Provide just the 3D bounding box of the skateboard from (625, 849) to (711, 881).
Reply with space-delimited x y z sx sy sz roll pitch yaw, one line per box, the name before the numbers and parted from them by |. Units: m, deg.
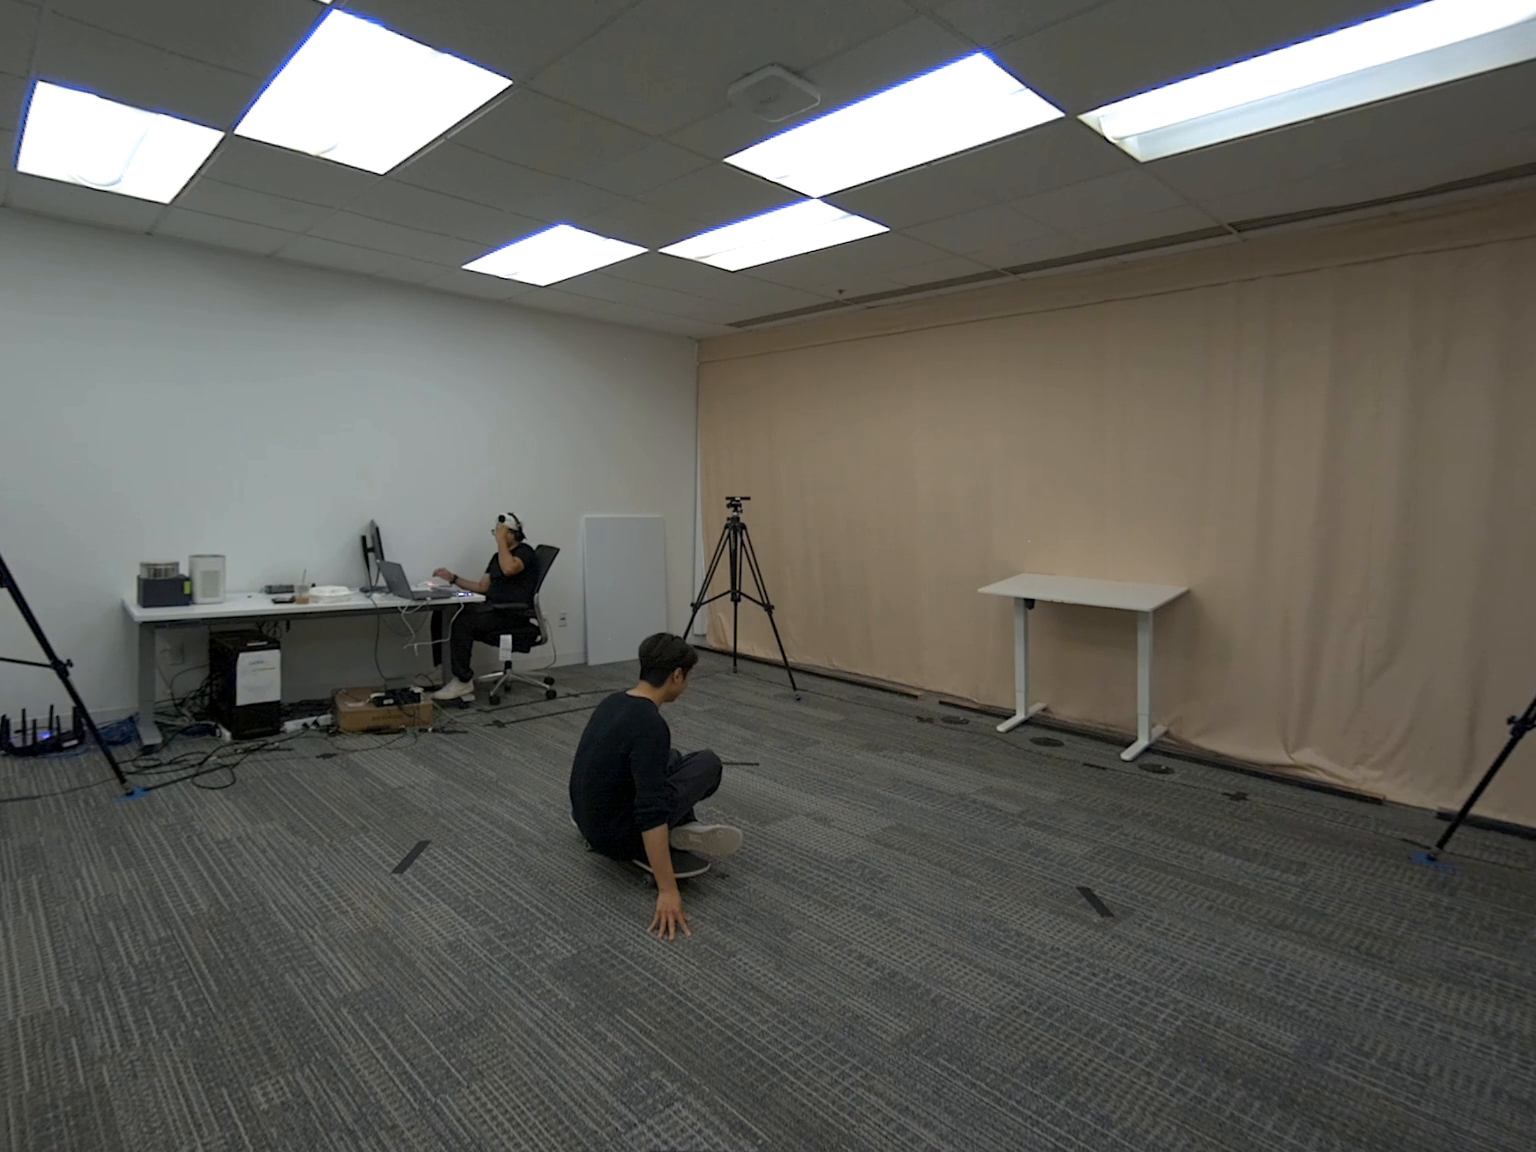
skateboard | -0.502 1.042 3.199 0.189 0.110 0.806 -2 6 -44
